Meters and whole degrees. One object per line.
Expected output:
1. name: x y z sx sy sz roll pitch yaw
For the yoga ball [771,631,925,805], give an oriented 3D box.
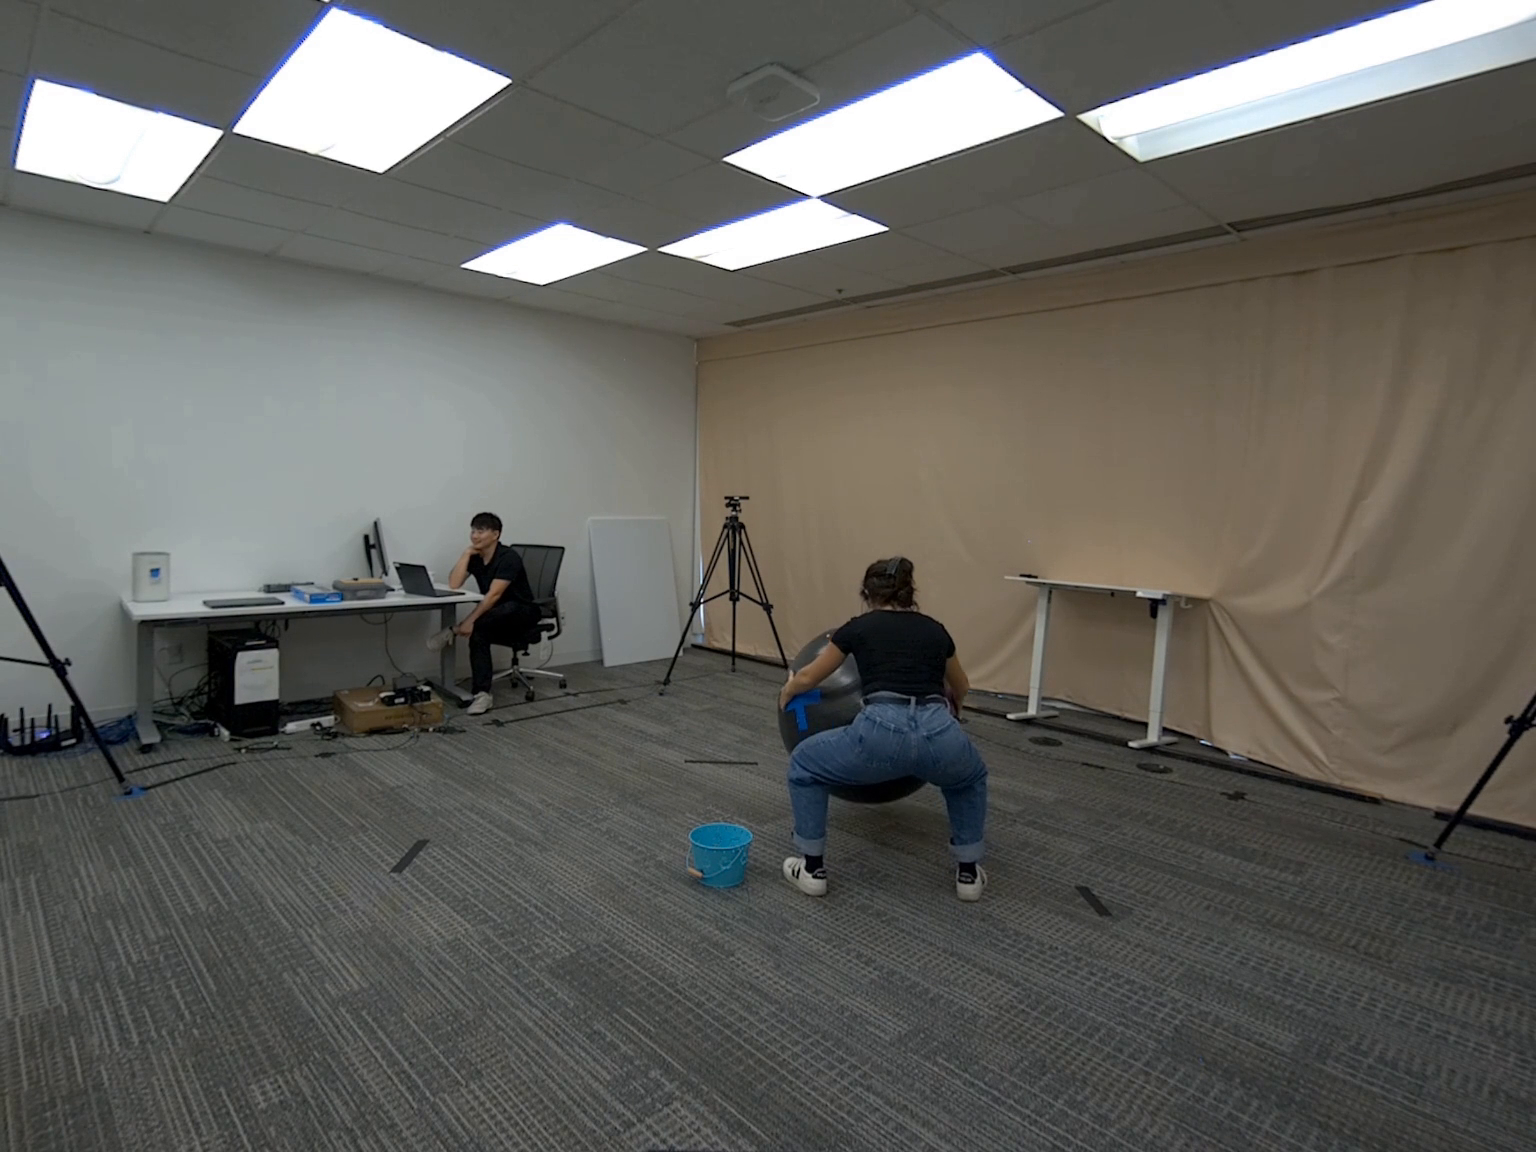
1. yoga ball: 0.428 0.568 3.609 0.757 0.756 0.760 1 4 -1
